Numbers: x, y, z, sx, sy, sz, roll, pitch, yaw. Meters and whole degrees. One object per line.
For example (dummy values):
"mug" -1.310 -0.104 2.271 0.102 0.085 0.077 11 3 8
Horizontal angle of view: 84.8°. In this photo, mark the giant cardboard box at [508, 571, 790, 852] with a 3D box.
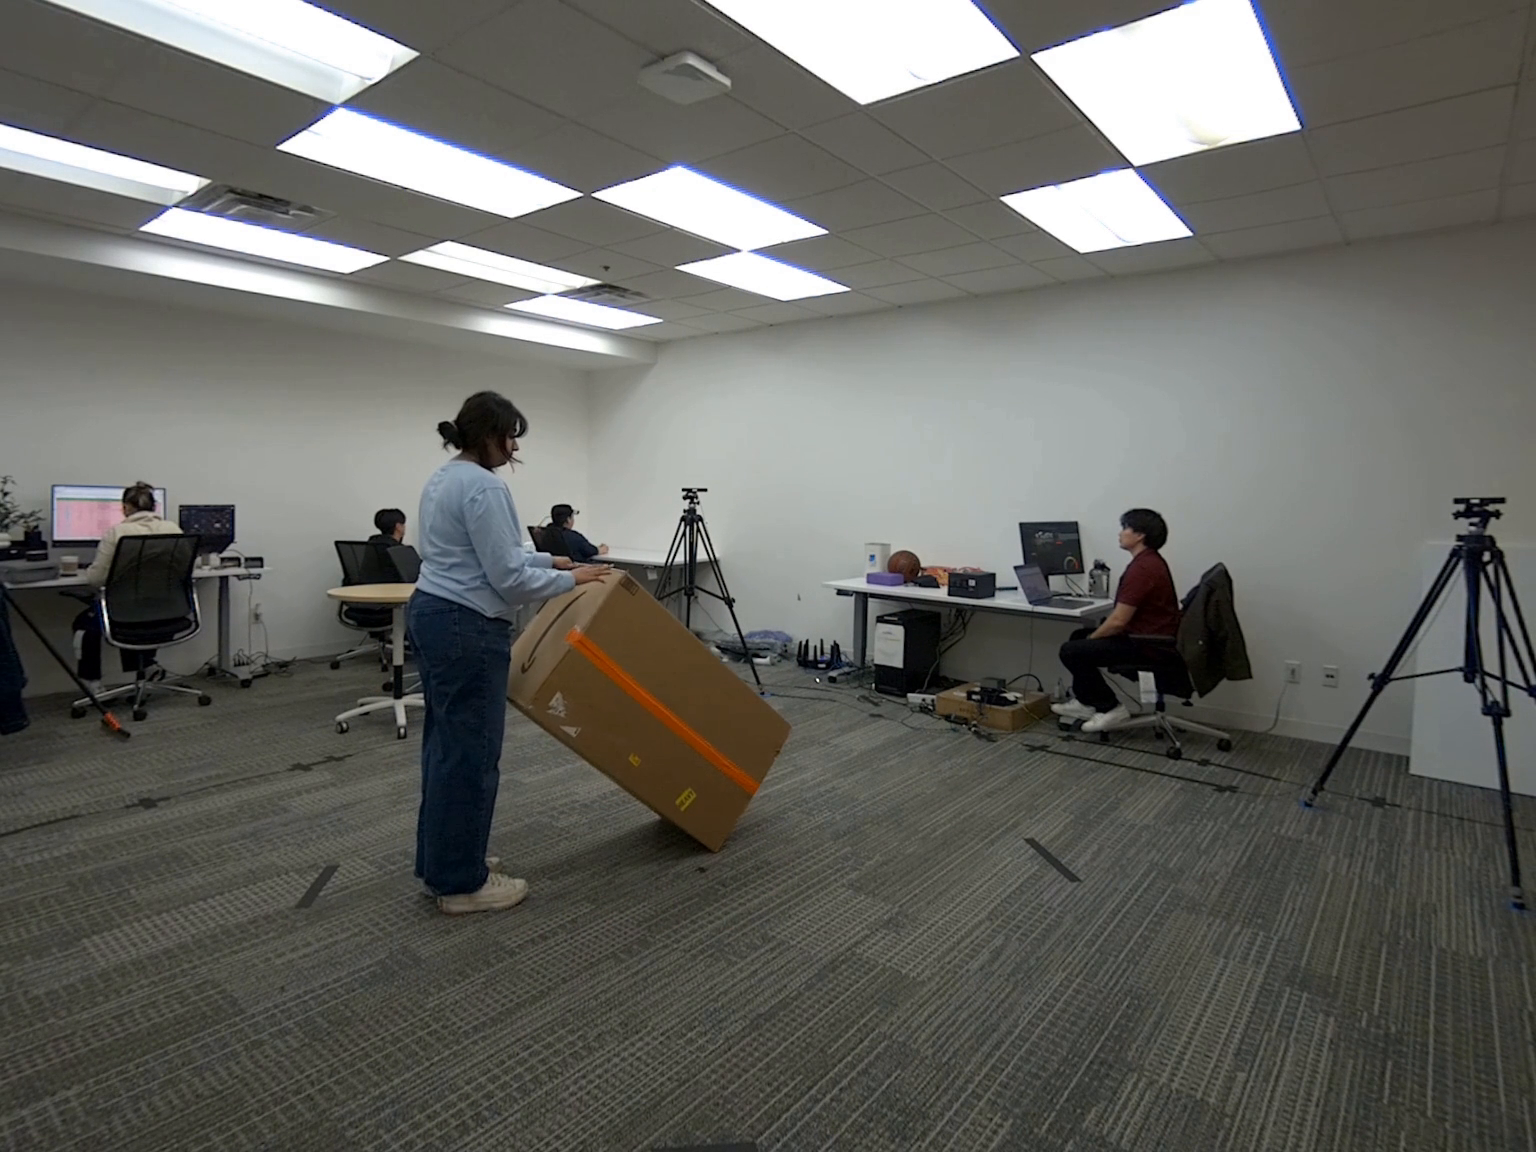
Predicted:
"giant cardboard box" -0.481 0.503 3.284 0.992 0.586 0.461 46 -22 -28
